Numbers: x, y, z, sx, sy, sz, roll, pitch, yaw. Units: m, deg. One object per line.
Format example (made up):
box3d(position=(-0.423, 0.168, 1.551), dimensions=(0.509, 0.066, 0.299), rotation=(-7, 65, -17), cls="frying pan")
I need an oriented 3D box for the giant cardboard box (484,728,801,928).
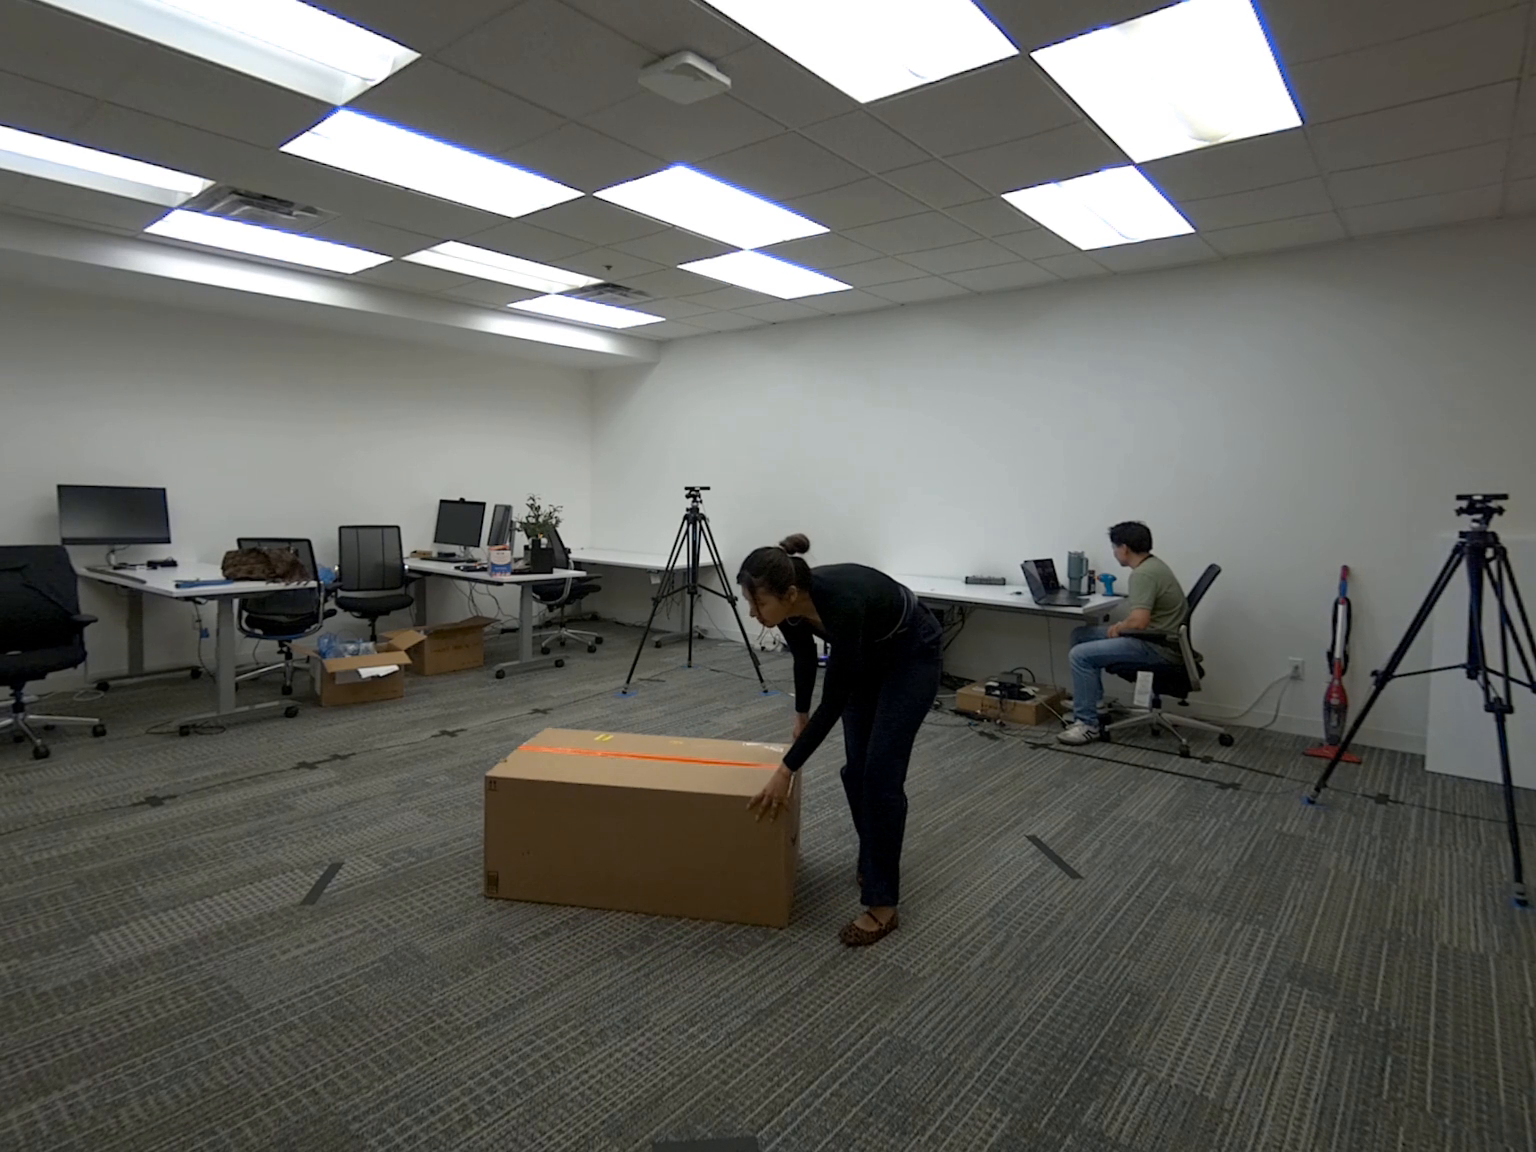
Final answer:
box3d(position=(-0.423, 0.852, 3.036), dimensions=(1.037, 0.425, 0.573), rotation=(2, 5, 9), cls="giant cardboard box")
